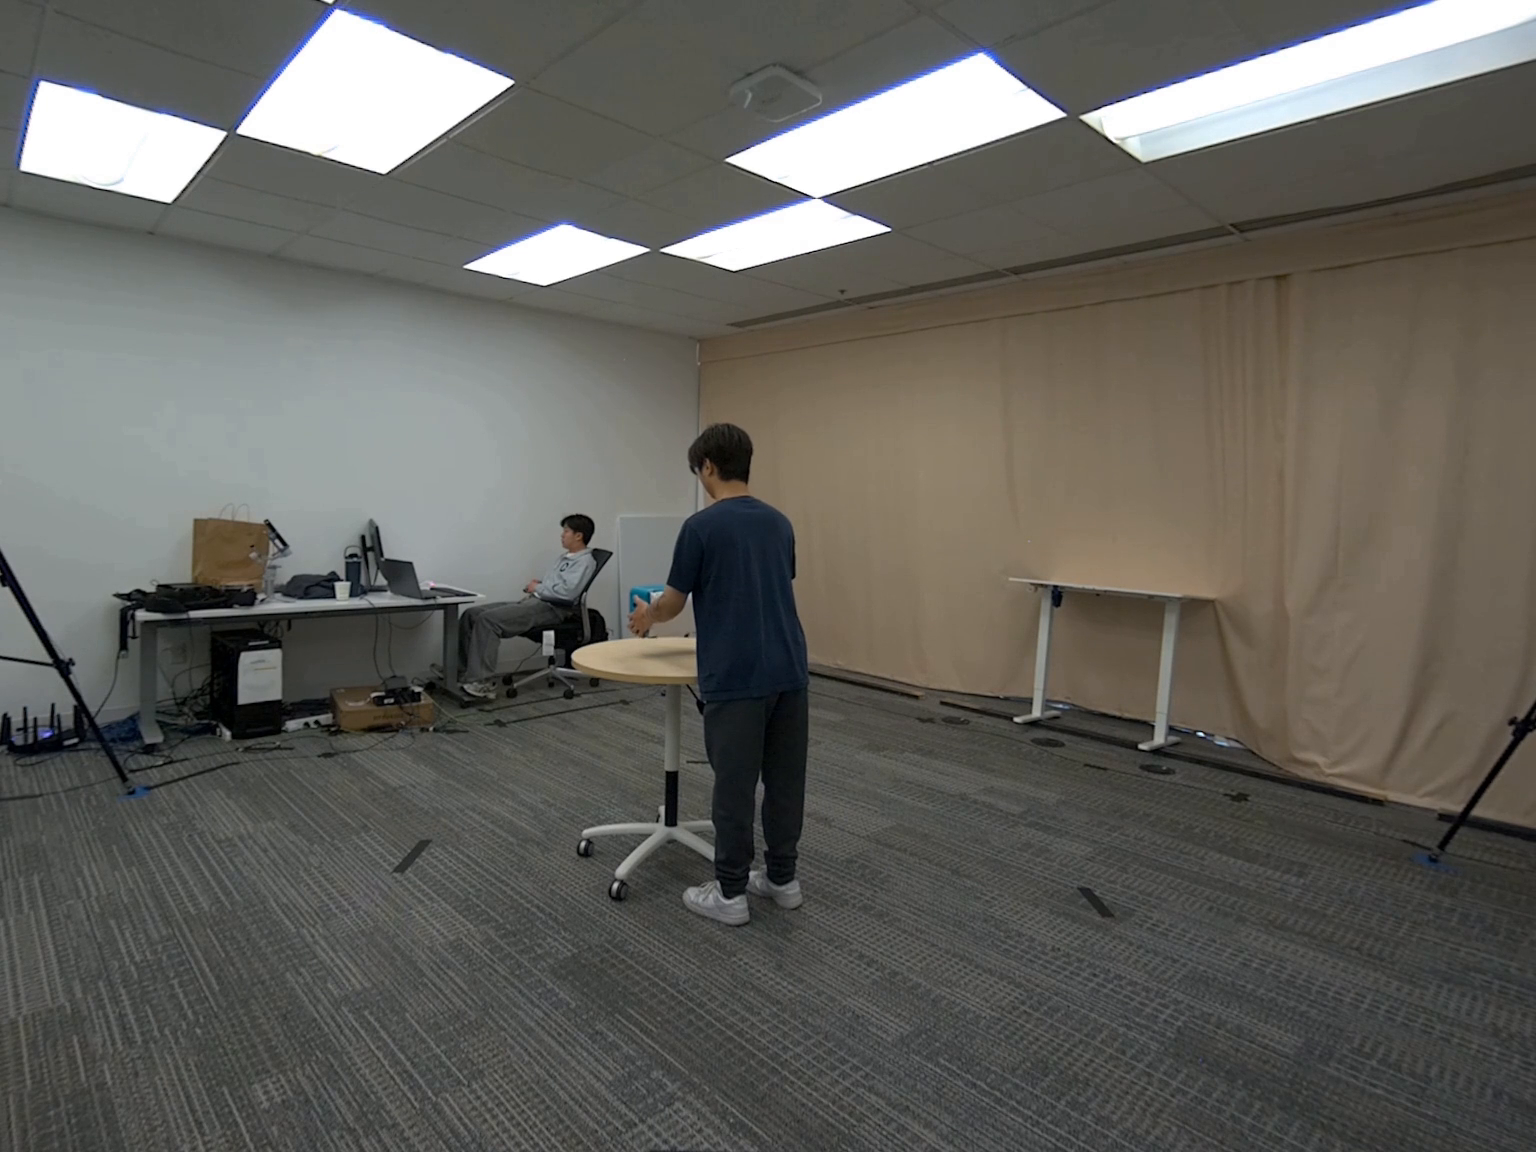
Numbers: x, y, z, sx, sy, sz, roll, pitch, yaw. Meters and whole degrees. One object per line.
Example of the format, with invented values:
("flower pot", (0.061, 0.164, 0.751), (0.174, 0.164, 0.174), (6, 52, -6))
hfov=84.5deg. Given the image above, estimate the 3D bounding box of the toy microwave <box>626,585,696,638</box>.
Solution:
("toy microwave", (-0.387, 0.133, 3.187), (0.280, 0.183, 0.156), (-3, 6, -40))
